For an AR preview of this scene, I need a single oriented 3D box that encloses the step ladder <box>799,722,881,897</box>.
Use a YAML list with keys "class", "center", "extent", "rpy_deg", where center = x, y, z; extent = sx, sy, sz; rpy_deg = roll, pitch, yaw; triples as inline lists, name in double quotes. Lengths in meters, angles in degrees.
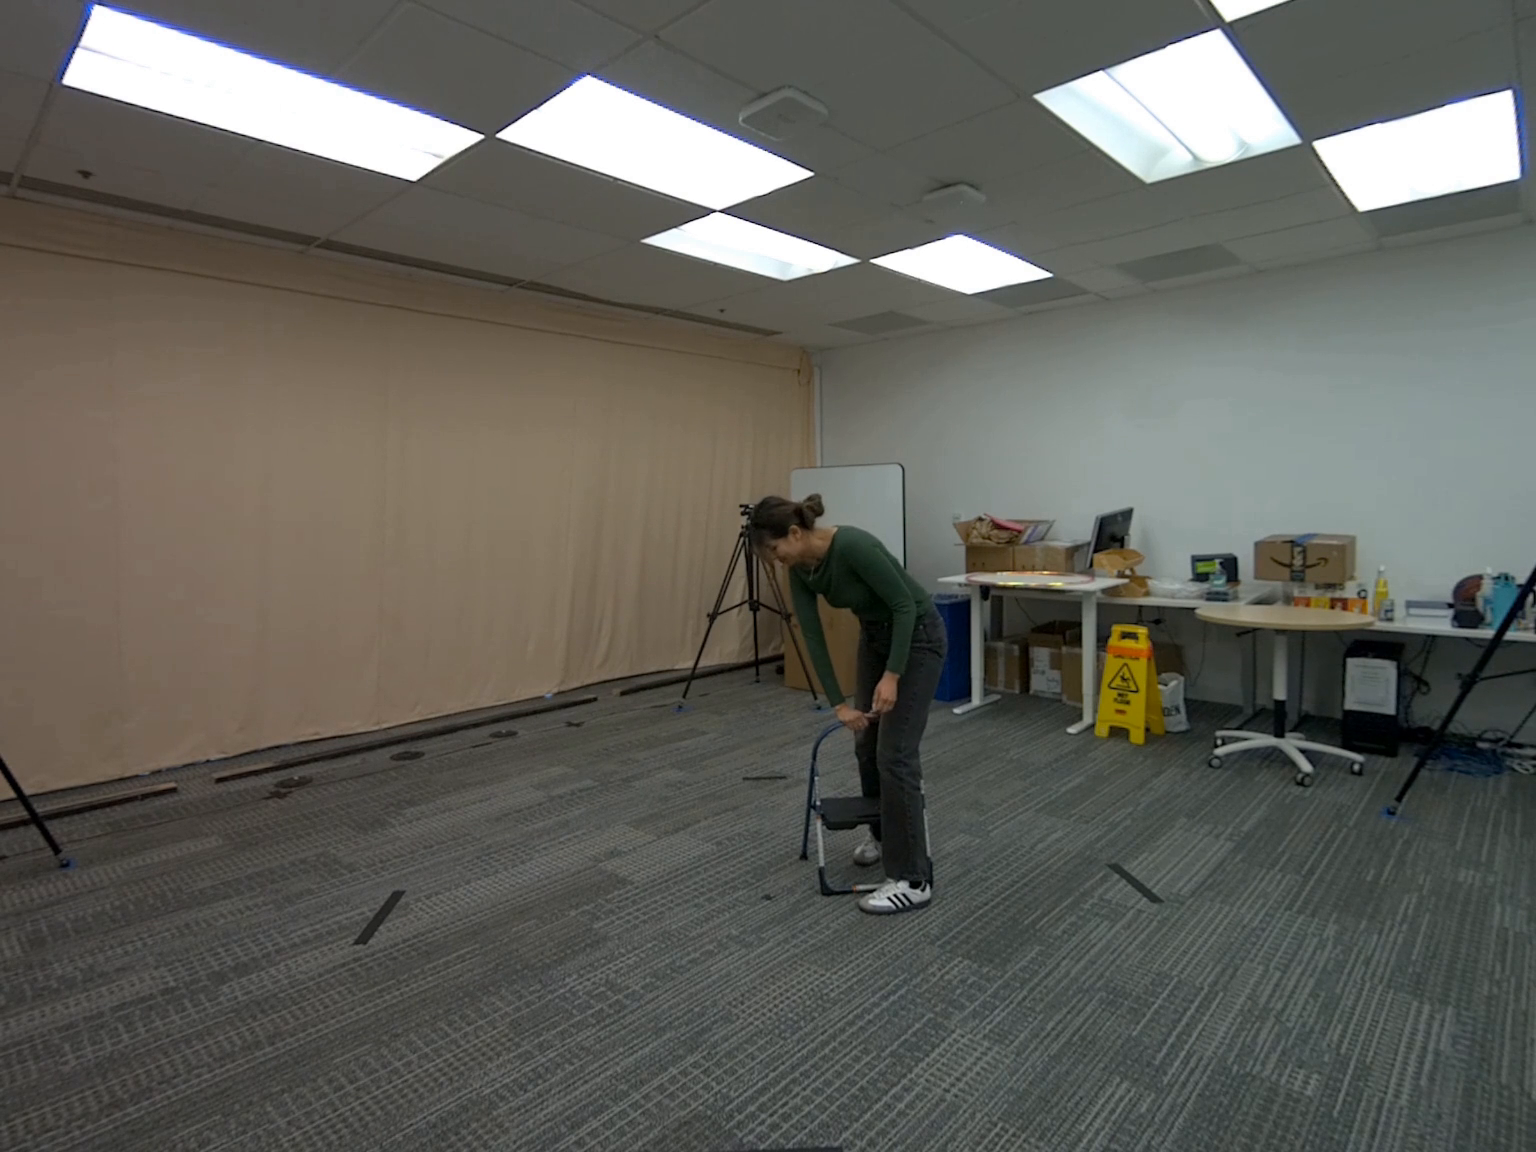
- class: "step ladder"
  center: [0.361, 0.815, 3.153]
  extent: [0.427, 0.604, 0.353]
  rpy_deg: [0, 4, -9]
